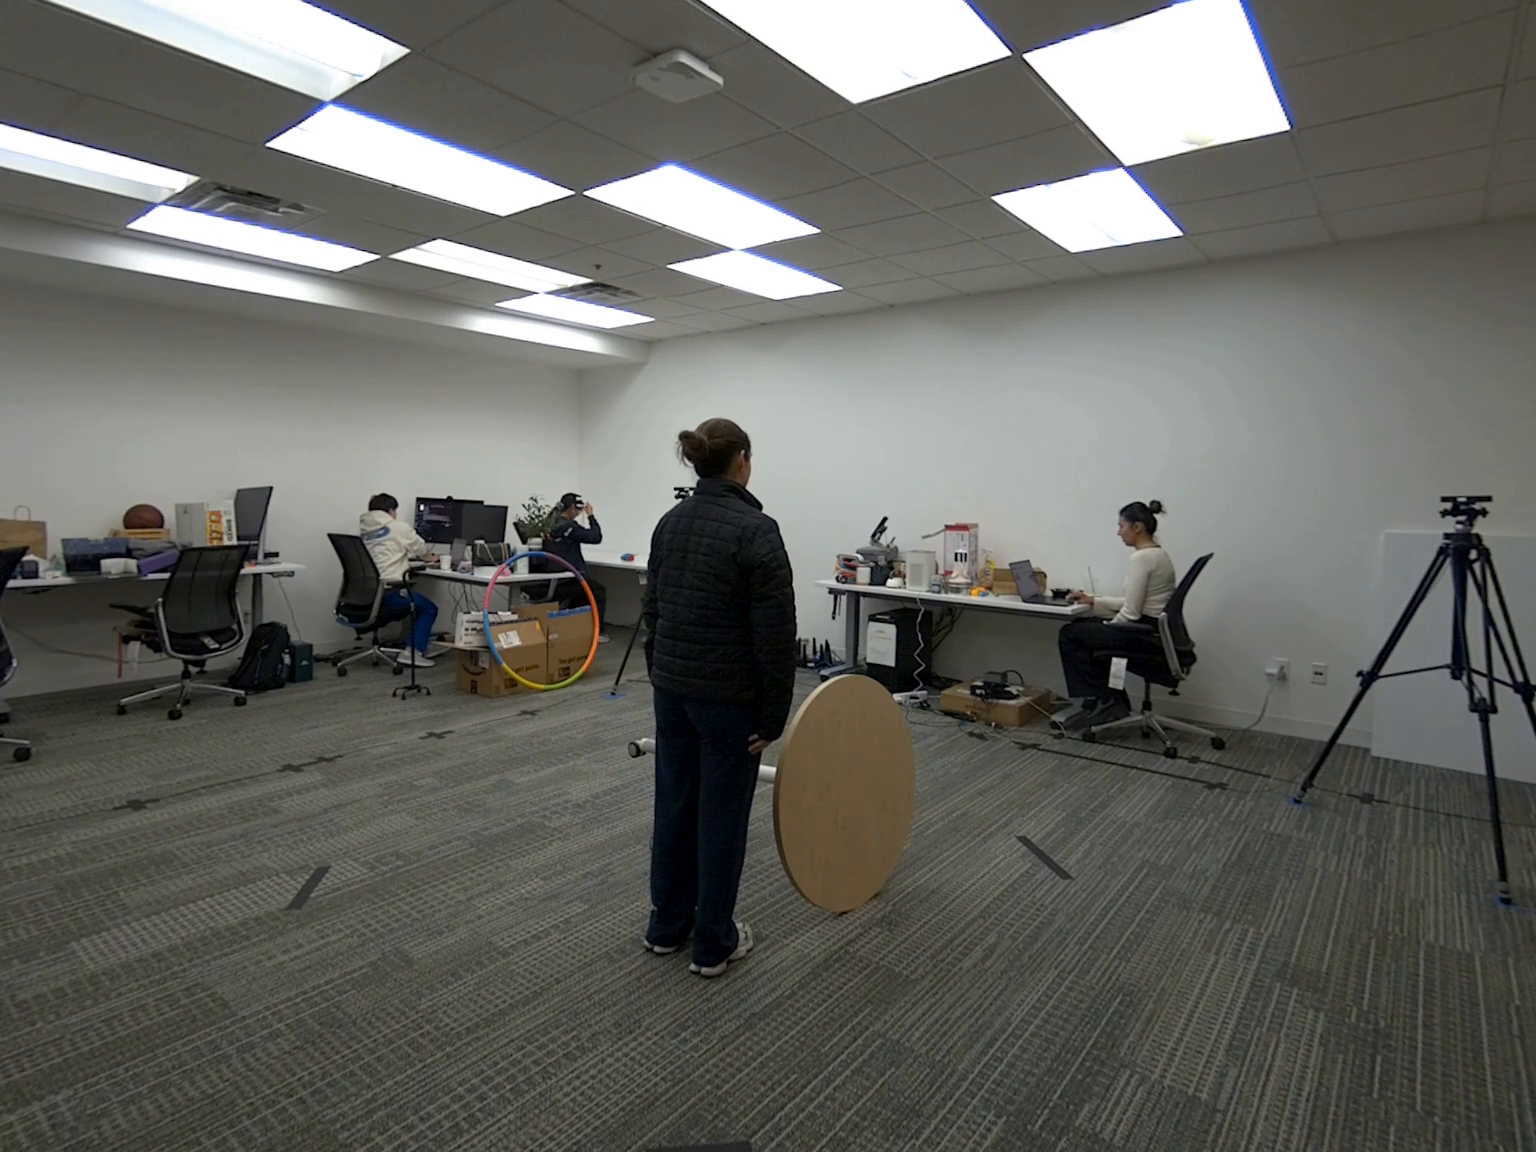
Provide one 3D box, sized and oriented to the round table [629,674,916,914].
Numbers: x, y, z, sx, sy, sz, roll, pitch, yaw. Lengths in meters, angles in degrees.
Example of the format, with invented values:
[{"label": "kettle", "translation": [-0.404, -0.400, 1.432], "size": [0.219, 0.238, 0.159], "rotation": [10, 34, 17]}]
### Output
[{"label": "round table", "translation": [0.000, 0.721, 3.148], "size": [0.810, 0.786, 0.761], "rotation": [-3, 0, 43]}]
